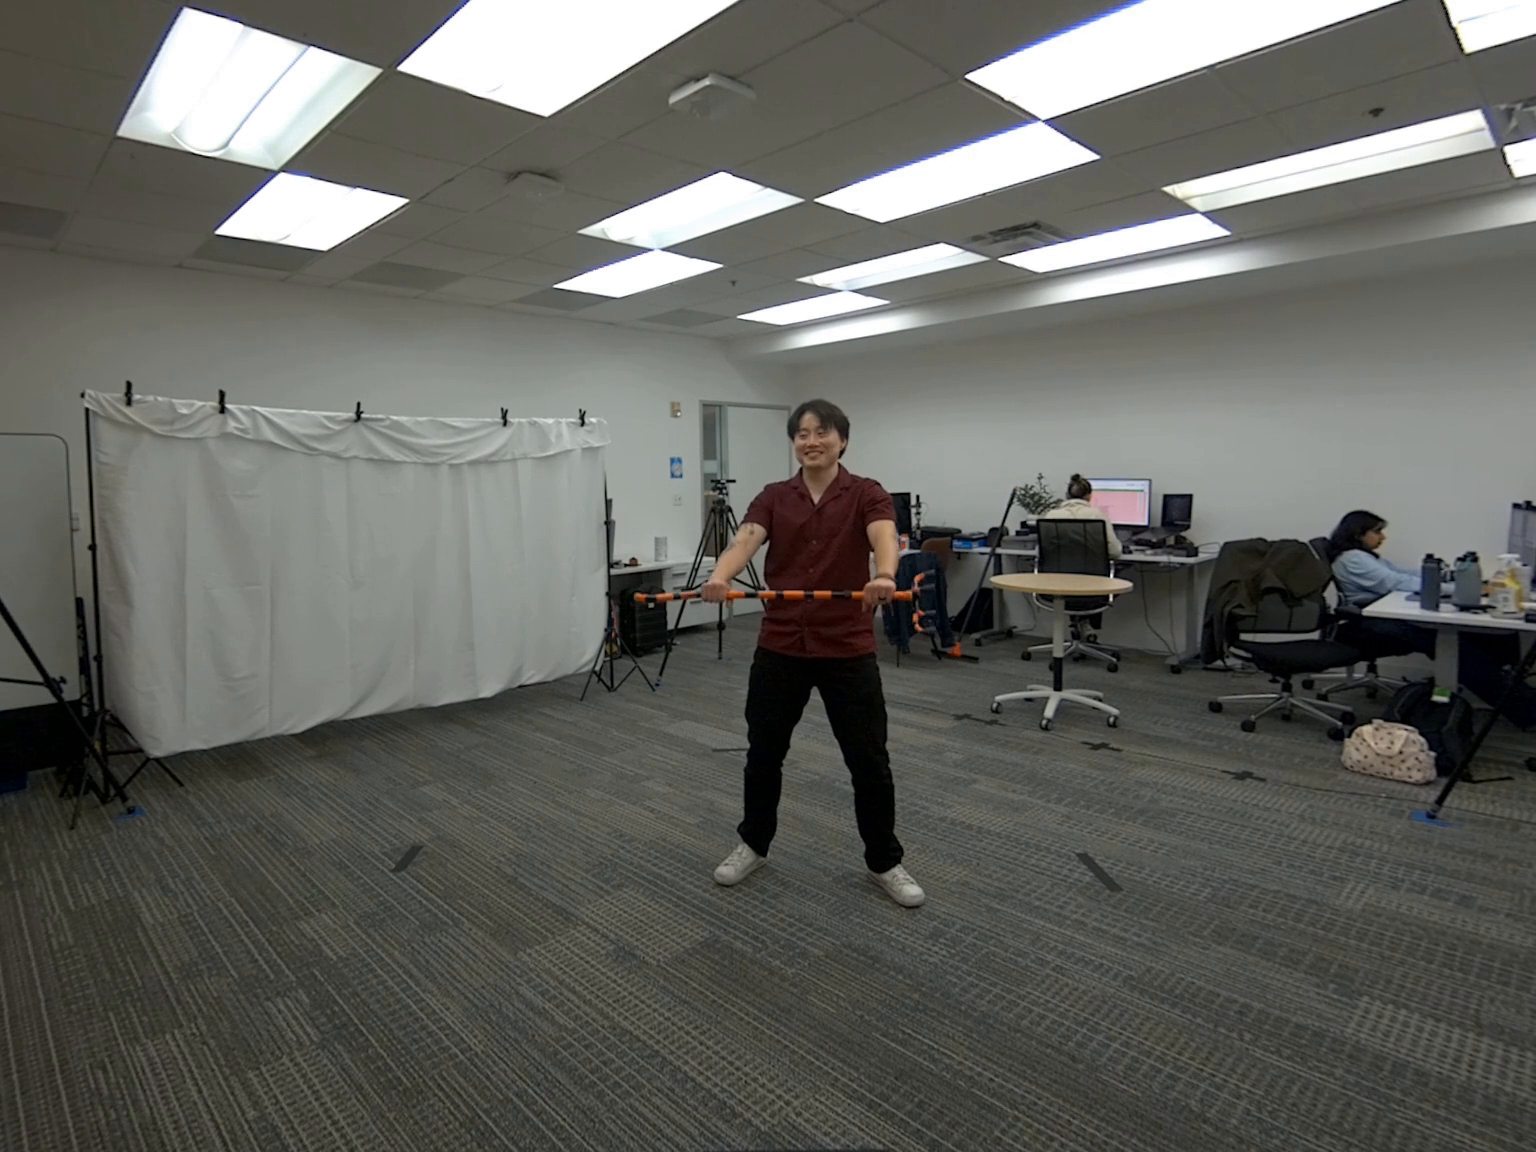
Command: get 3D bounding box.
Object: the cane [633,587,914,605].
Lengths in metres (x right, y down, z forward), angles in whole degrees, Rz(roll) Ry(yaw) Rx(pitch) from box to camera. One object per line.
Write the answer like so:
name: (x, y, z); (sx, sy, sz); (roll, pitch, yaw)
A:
cane: (0.029, 0.071, 2.539); (0.921, 0.150, 0.205); (1, 9, 15)
